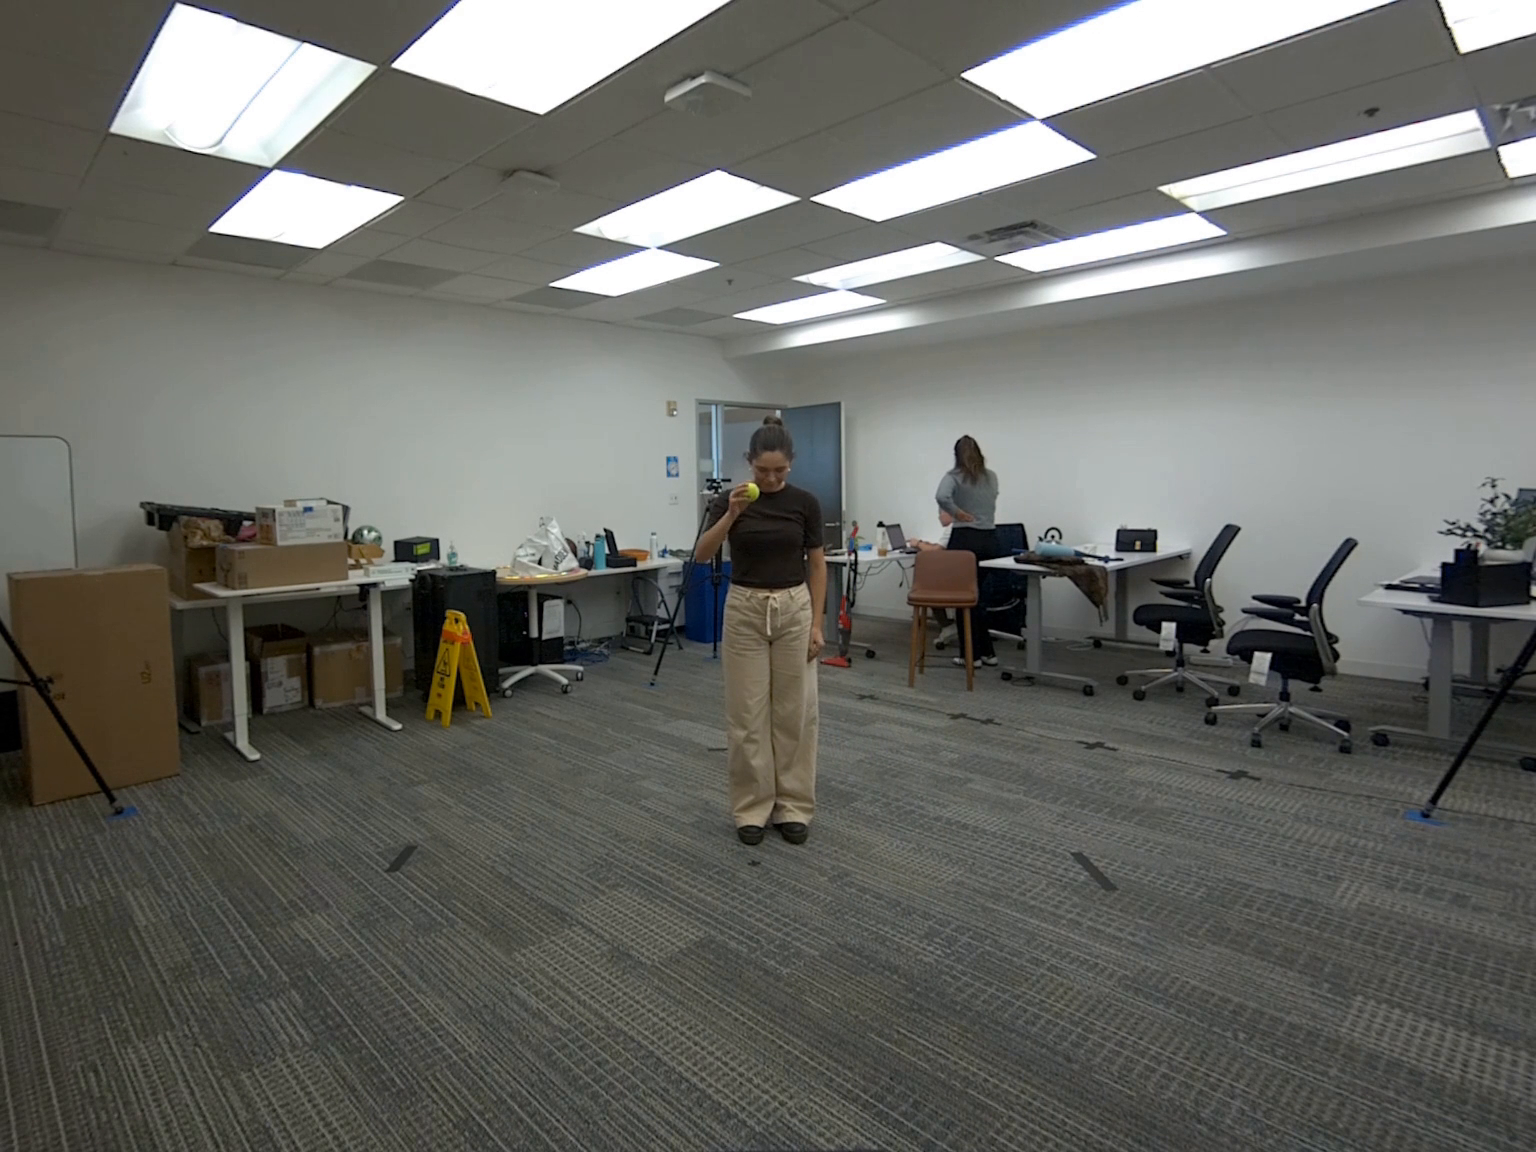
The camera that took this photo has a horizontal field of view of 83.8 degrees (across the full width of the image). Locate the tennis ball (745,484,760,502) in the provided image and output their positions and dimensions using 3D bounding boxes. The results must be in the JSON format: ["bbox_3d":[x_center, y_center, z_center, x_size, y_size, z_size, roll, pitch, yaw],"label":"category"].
[{"bbox_3d":[-0.081,-0.261,3.011,0.066,0.066,0.067,-1,5,-2],"label":"tennis ball"}]
